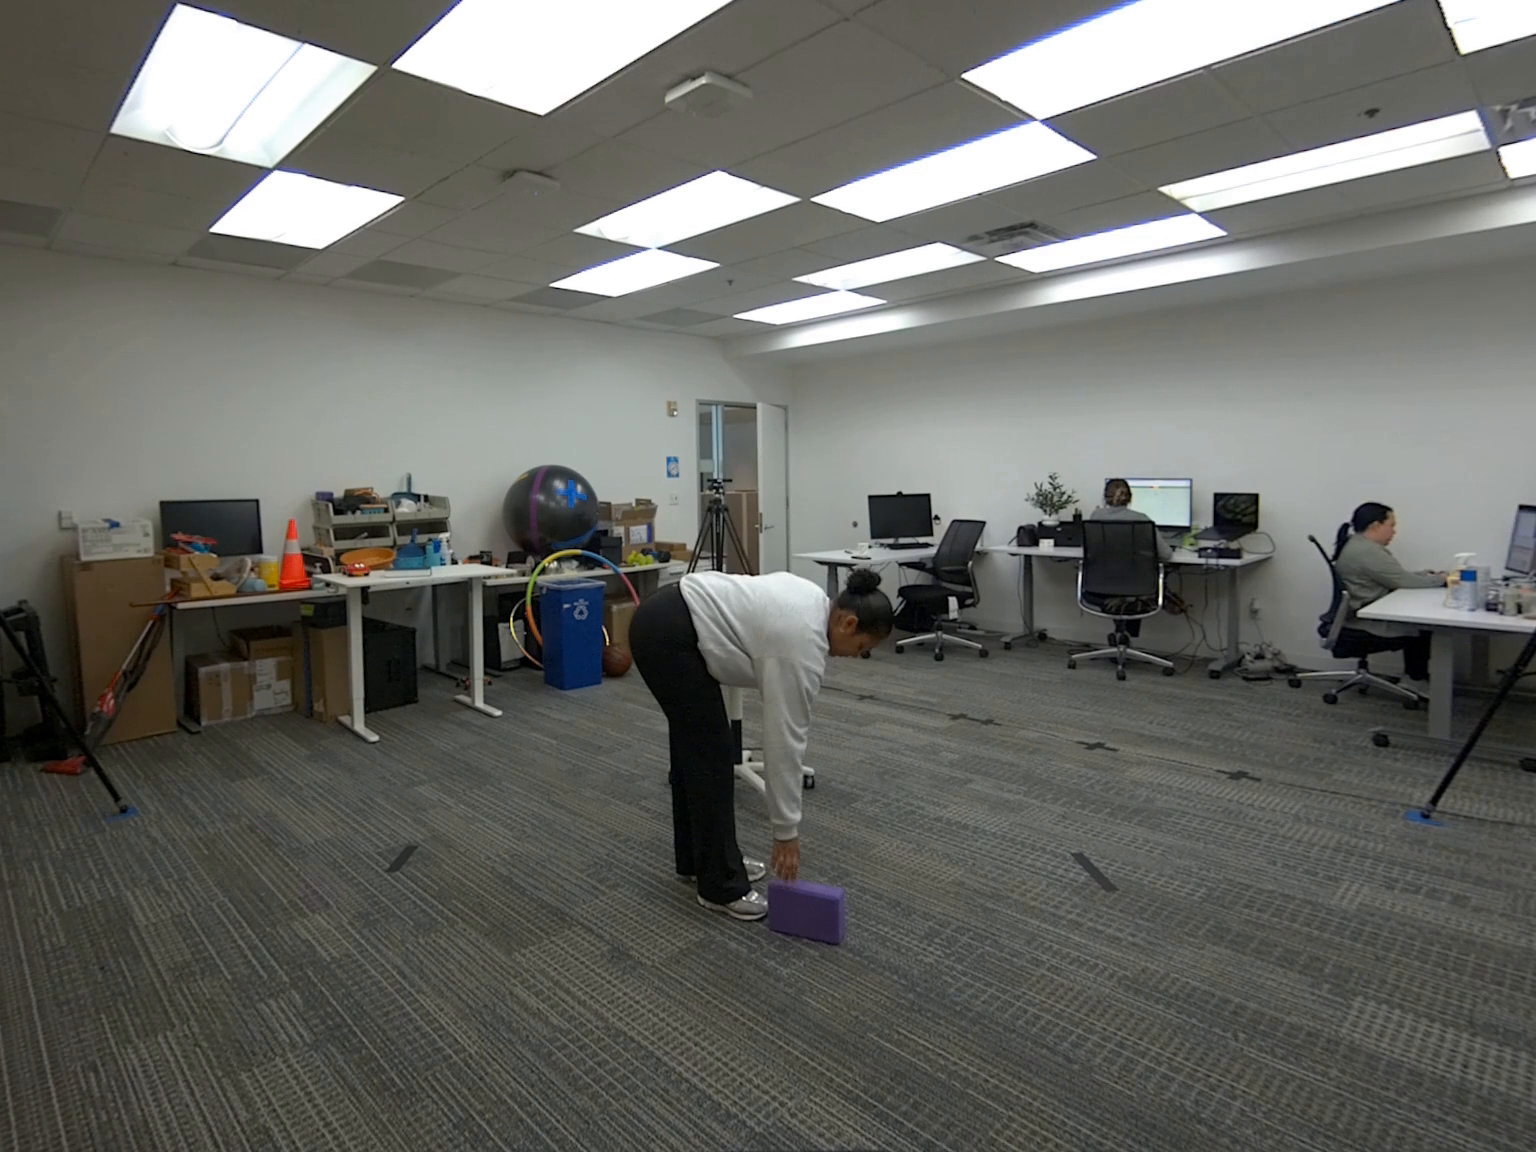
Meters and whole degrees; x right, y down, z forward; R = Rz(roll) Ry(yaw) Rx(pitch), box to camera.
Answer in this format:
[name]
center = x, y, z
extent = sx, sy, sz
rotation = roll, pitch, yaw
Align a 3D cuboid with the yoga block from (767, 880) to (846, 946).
[yoga block]
center = 0.121, 1.011, 2.621
extent = 0.234, 0.148, 0.075
rotation = 3, 4, 24
